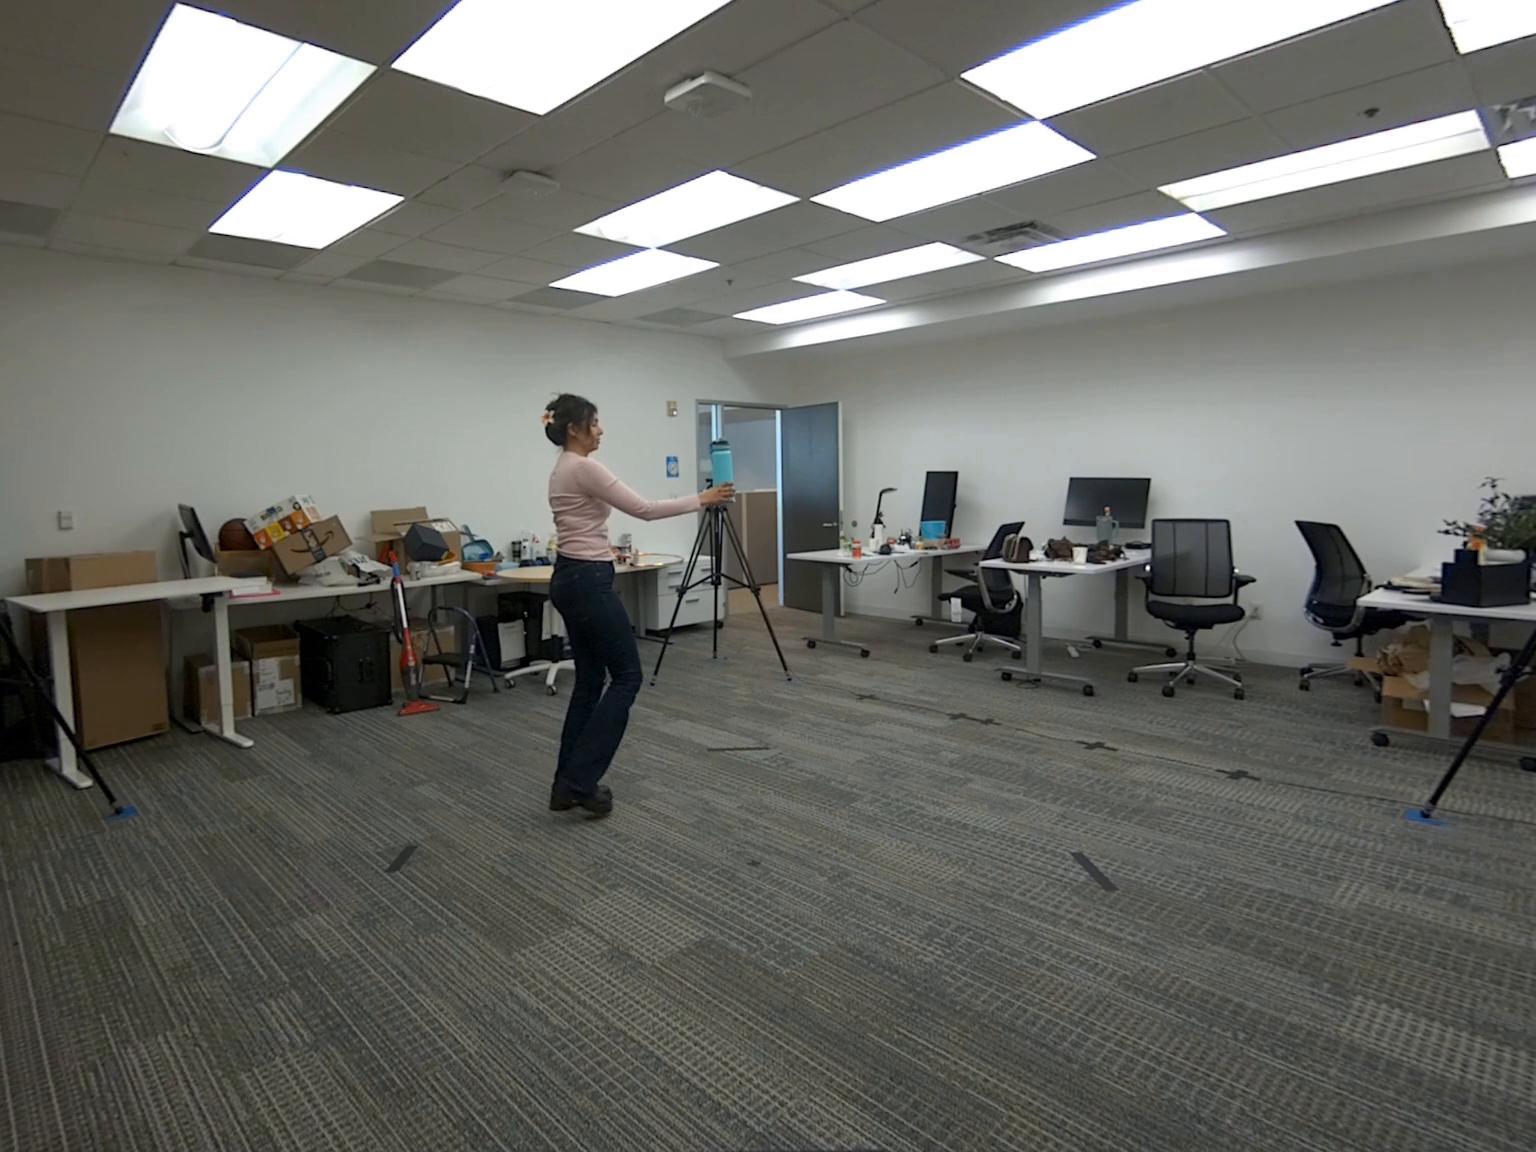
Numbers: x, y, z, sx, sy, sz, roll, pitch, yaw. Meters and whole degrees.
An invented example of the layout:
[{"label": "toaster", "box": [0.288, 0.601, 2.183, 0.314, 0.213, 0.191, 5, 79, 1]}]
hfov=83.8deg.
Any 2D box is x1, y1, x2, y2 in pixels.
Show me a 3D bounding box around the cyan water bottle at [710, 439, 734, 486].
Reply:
[{"label": "cyan water bottle", "box": [-0.204, -0.459, 3.697, 0.092, 0.280, 0.093, -6, 11, 0]}]
